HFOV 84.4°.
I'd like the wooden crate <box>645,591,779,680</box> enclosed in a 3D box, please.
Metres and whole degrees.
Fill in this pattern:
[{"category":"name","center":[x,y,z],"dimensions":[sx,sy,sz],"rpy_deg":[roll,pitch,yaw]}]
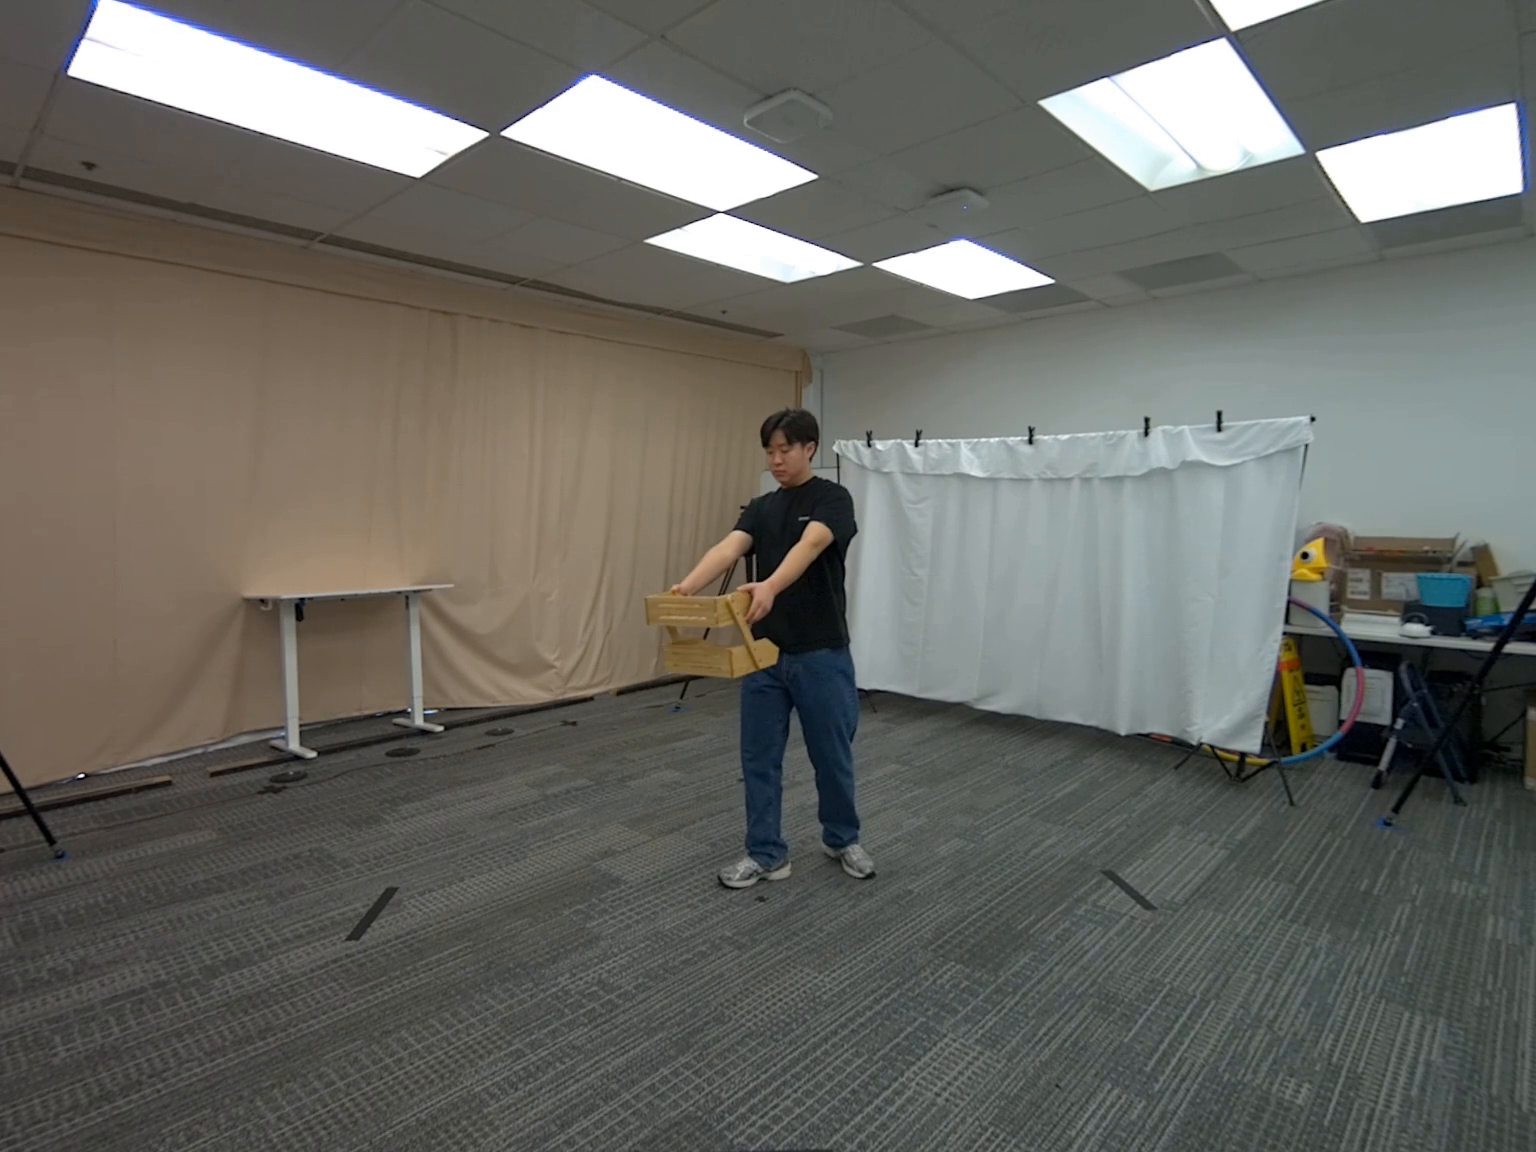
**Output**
[{"category":"wooden crate","center":[-0.173,0.180,2.754],"dimensions":[0.334,0.272,0.294],"rpy_deg":[-2,5,38]}]
